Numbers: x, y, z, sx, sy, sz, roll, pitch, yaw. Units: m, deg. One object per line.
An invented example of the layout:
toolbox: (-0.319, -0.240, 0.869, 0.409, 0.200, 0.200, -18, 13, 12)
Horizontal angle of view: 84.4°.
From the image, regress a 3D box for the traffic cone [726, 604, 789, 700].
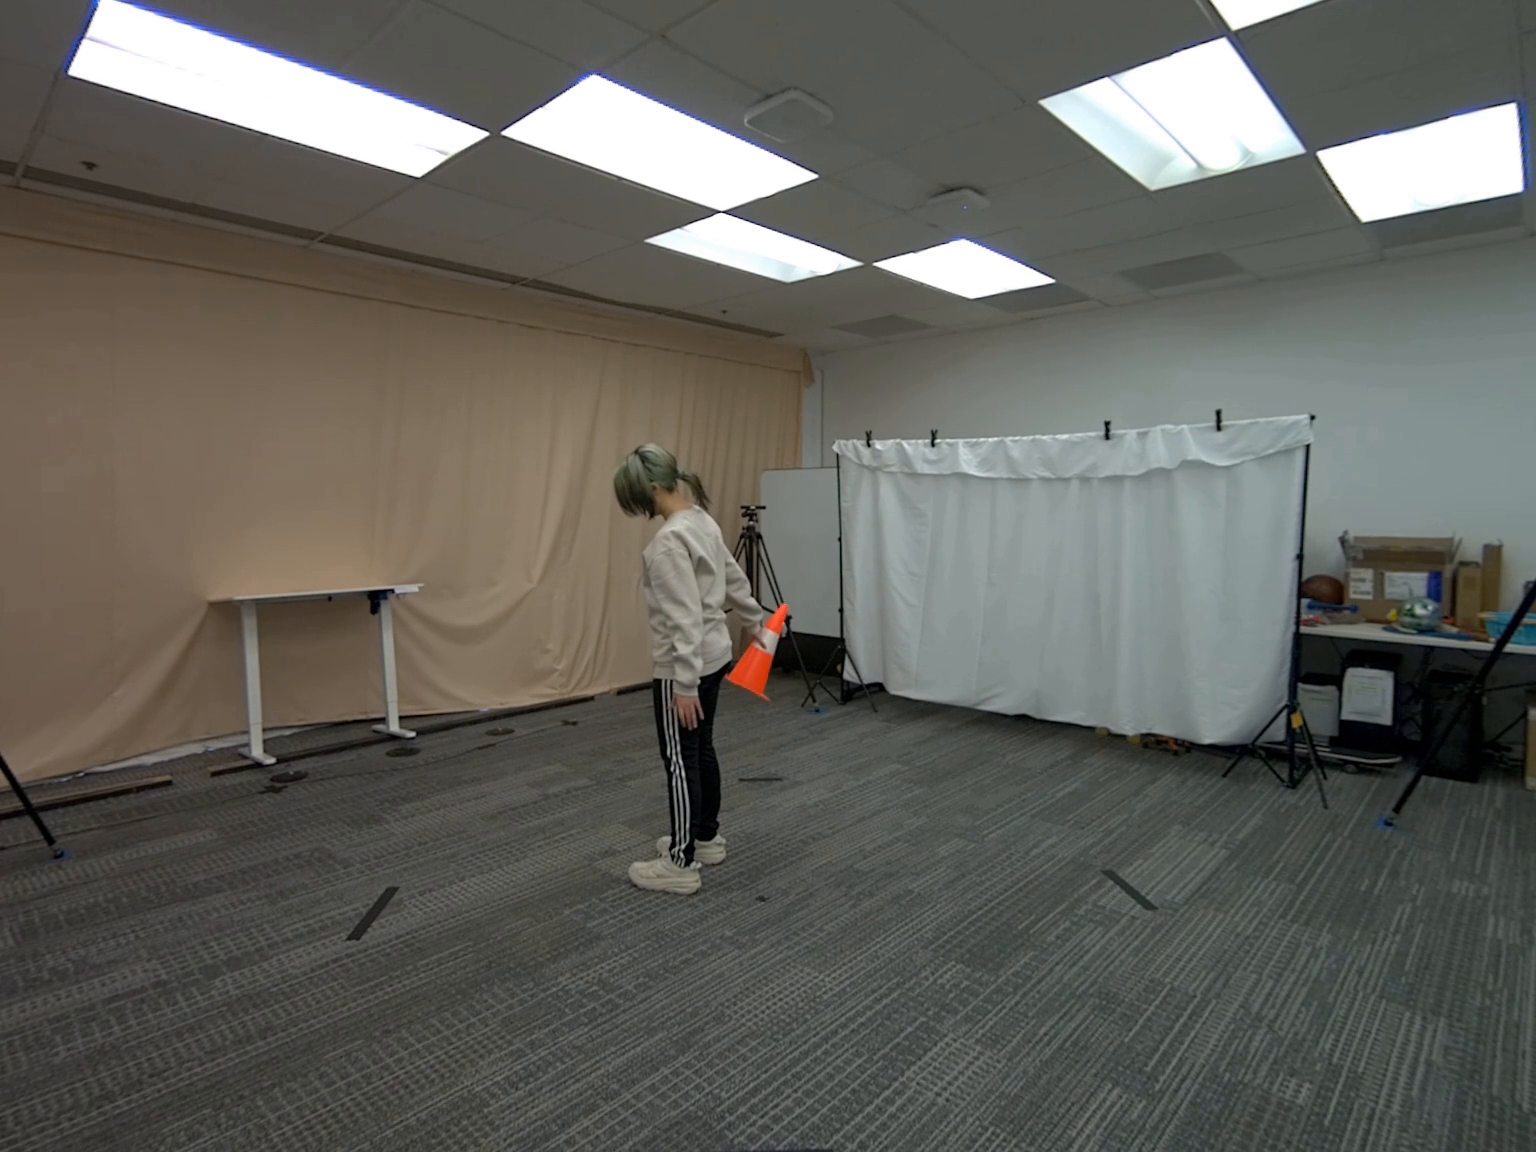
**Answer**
traffic cone: (-0.019, 0.290, 3.540, 0.203, 0.384, 0.205, 26, -3, -8)
